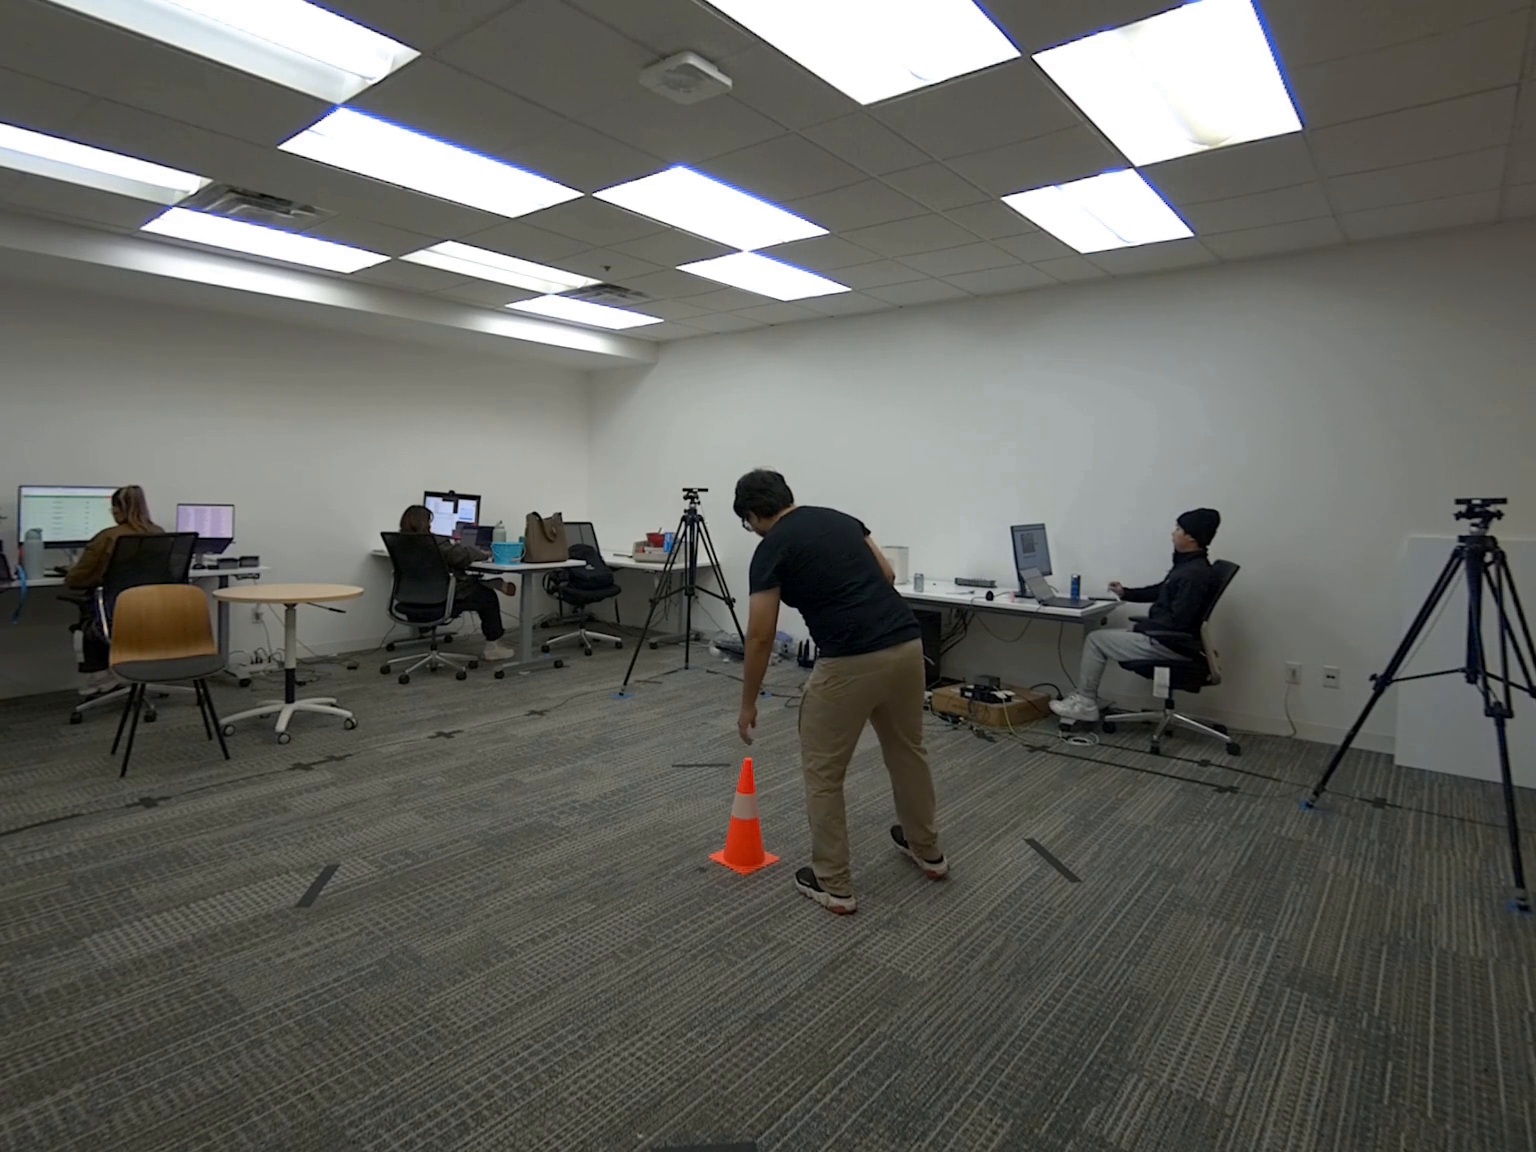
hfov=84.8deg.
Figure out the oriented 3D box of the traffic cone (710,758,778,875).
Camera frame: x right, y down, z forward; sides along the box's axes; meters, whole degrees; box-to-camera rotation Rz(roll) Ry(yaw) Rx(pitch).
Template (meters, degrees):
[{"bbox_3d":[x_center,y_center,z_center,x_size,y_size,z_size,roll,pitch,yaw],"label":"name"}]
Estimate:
[{"bbox_3d":[-0.092,0.877,3.203,0.197,0.382,0.212,-2,5,-43],"label":"traffic cone"}]
